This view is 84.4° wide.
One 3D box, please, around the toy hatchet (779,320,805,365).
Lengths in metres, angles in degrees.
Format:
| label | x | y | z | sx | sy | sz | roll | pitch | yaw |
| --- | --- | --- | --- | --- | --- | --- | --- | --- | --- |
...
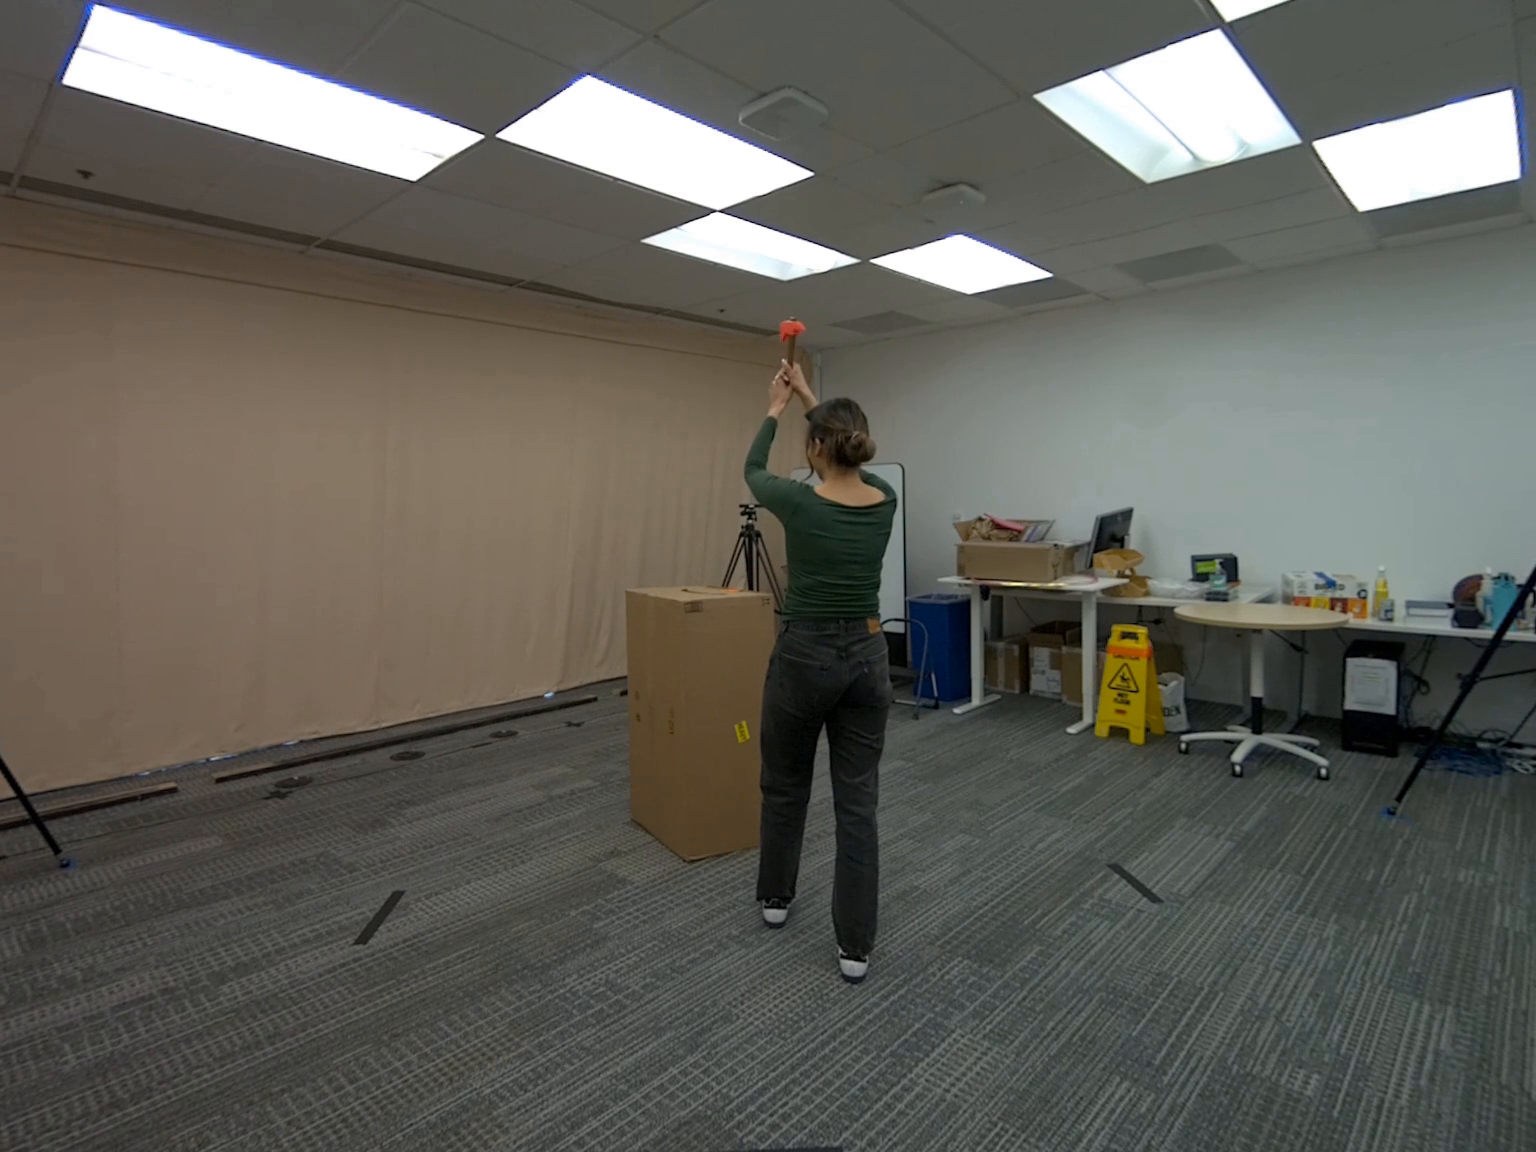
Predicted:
| label | x | y | z | sx | sy | sz | roll | pitch | yaw |
| --- | --- | --- | --- | --- | --- | --- | --- | --- | --- |
| toy hatchet | 0.056 | -0.719 | 2.785 | 0.029 | 0.267 | 0.136 | -10 | 42 | -32 |
